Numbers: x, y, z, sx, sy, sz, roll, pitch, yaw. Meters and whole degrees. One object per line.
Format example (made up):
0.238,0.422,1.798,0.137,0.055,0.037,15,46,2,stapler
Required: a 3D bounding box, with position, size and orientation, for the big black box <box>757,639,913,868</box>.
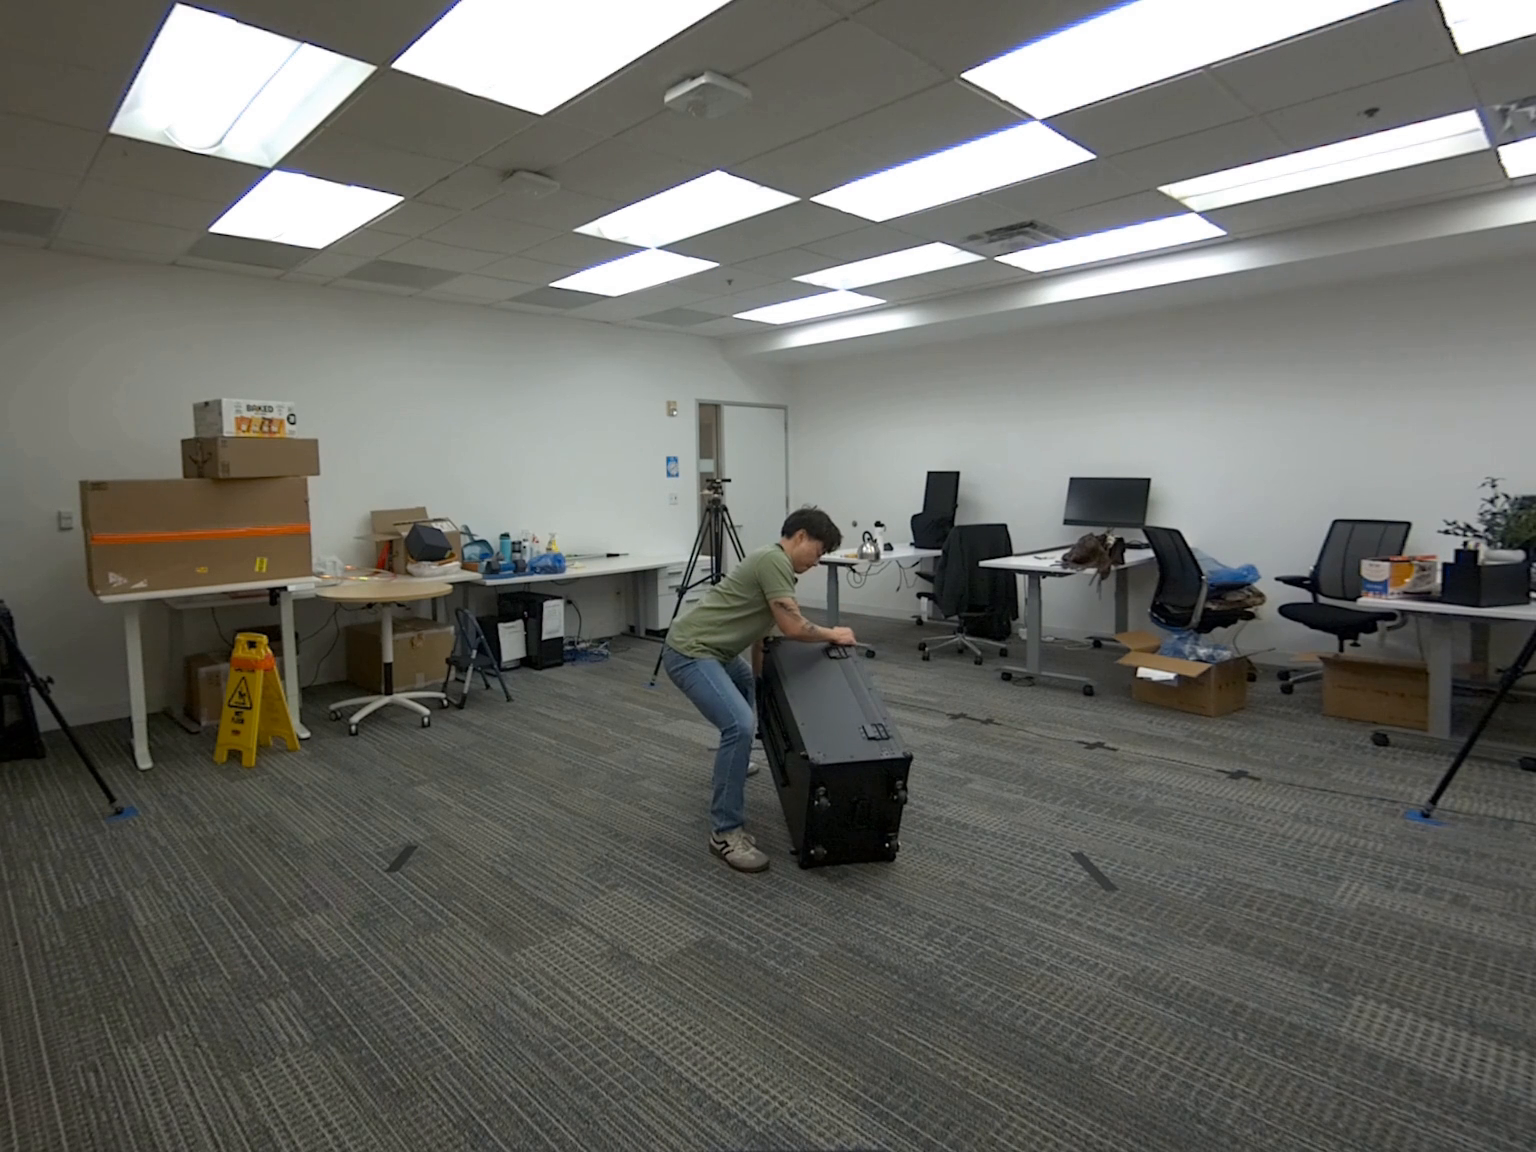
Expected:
0.230,0.654,3.280,0.392,0.511,0.888,-3,27,-12,big black box
